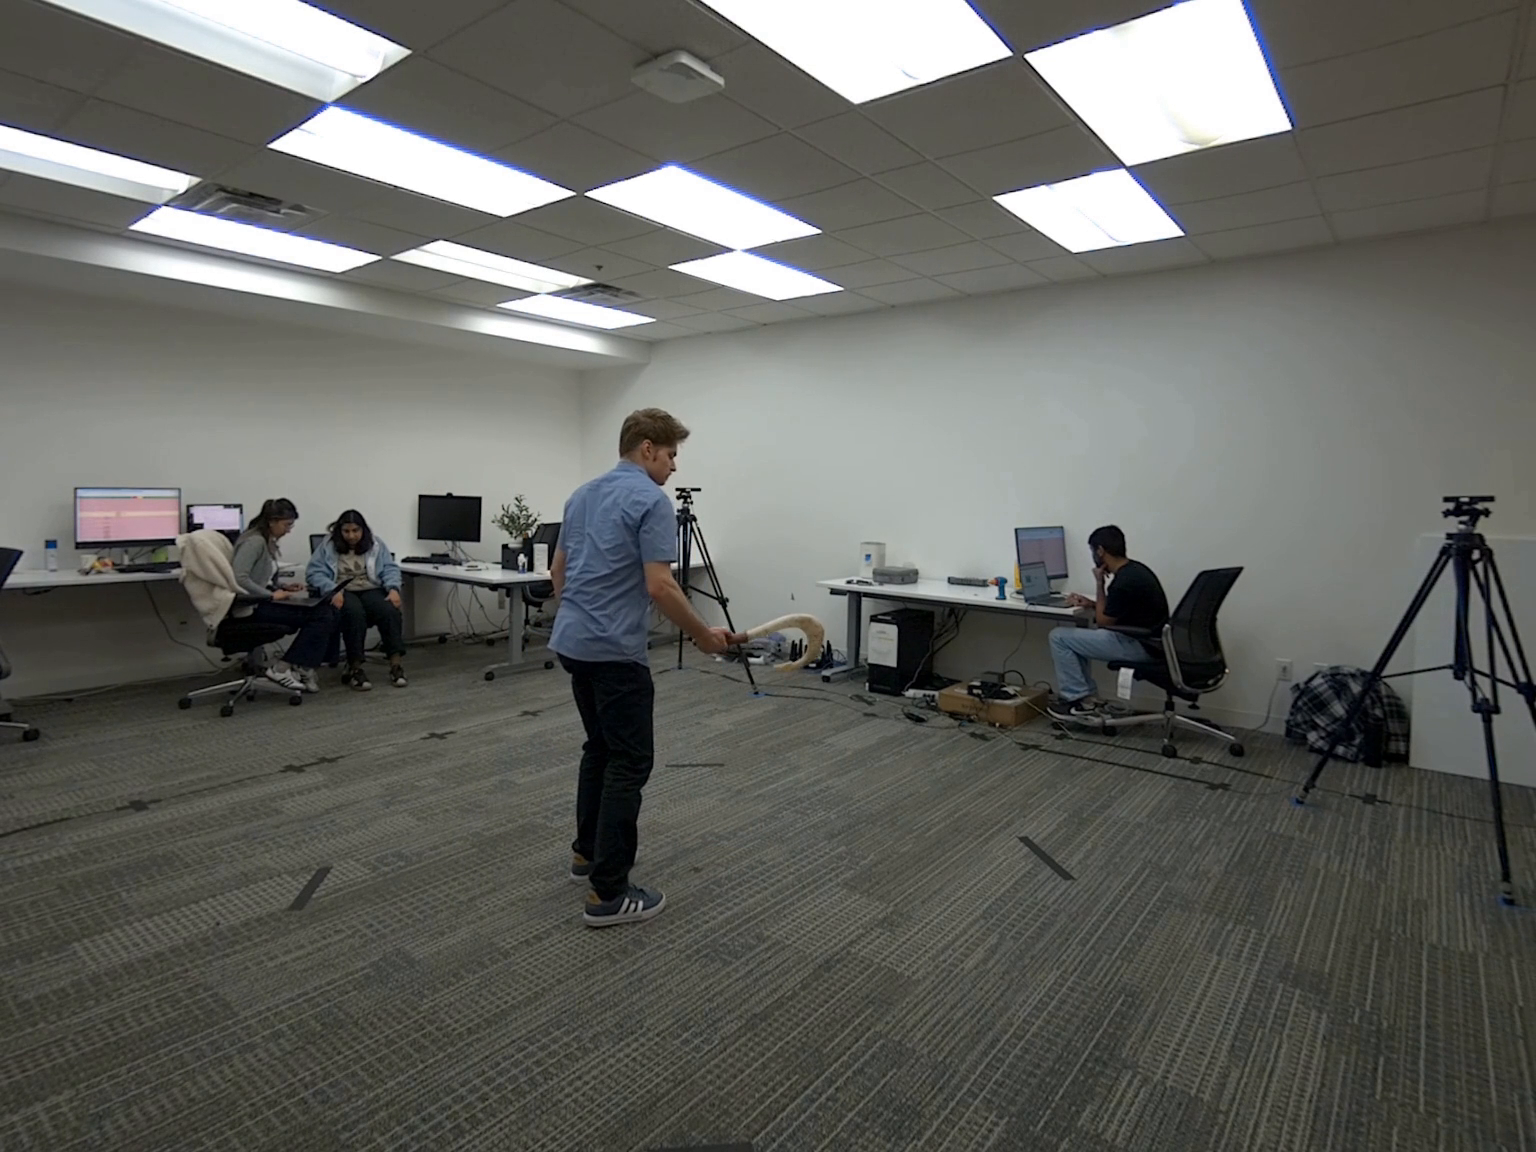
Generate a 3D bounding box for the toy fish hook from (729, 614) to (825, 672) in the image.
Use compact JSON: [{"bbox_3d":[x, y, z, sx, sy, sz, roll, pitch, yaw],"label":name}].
[{"bbox_3d":[-0.036,0.274,3.043,0.498,0.222,0.049,-4,11,-17],"label":"toy fish hook"}]
